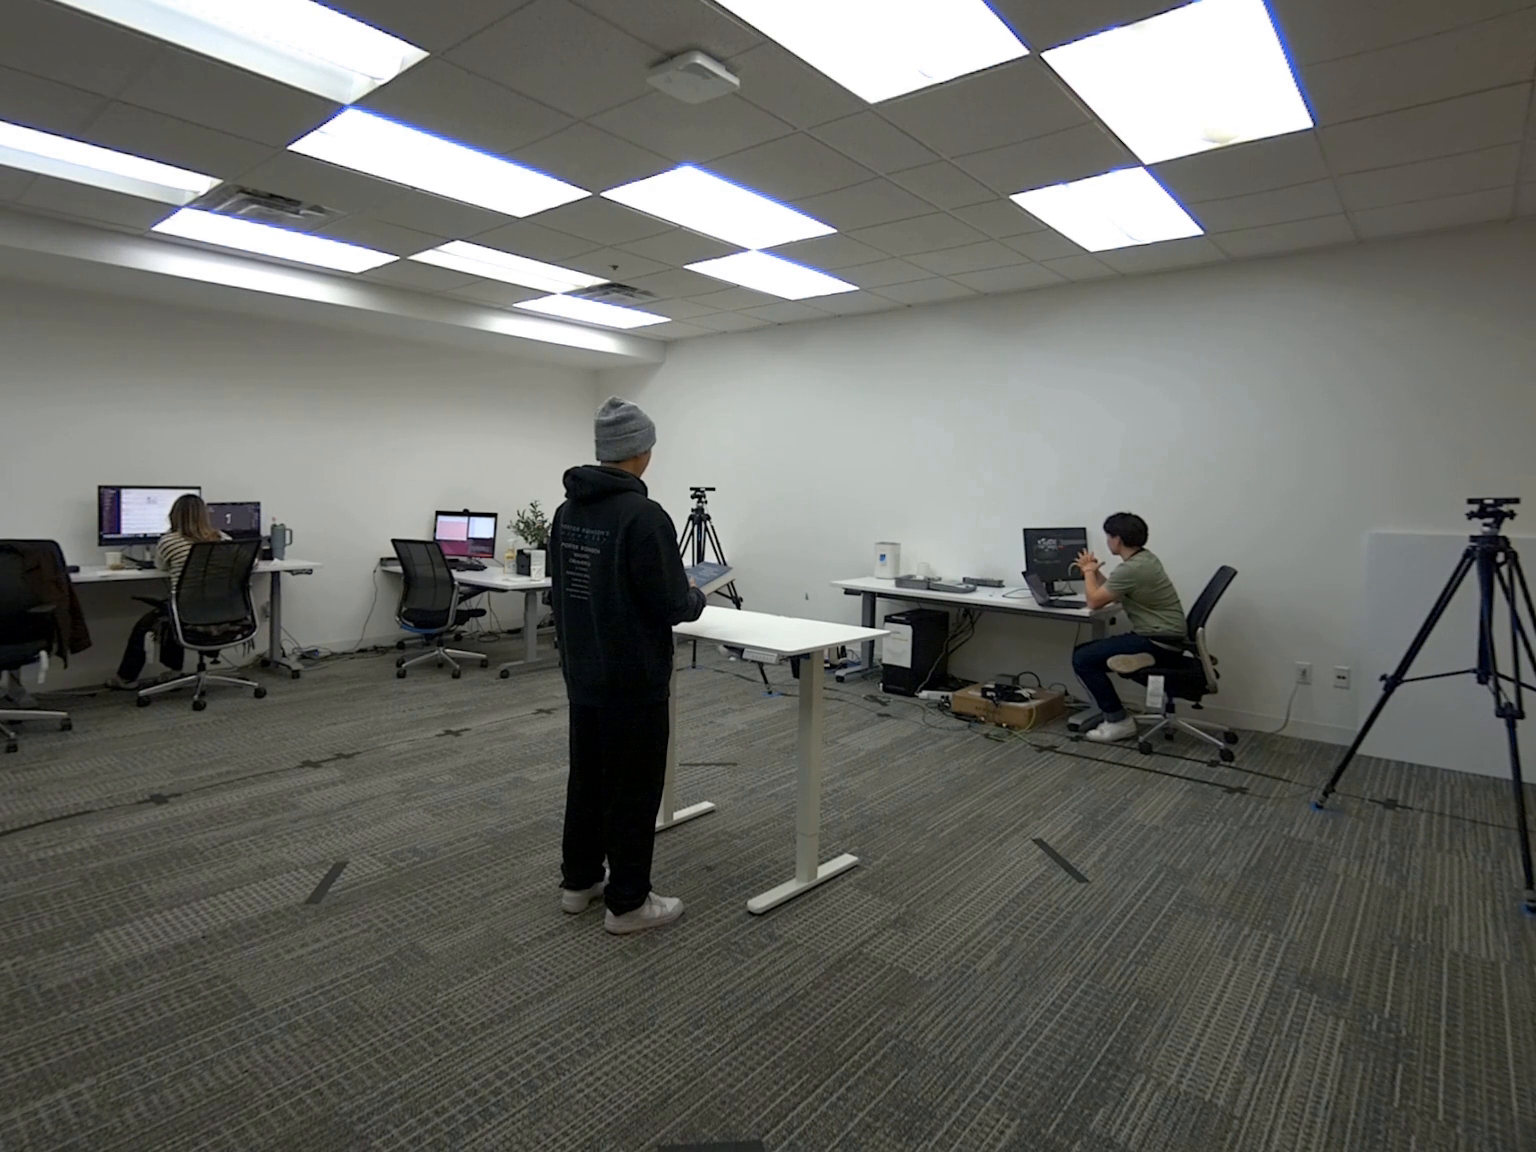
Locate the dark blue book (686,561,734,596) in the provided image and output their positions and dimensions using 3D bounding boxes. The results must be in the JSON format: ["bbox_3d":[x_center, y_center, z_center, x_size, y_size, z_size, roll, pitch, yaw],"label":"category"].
[{"bbox_3d":[-0.258,0.024,3.003,0.169,0.044,0.242,11,33,43],"label":"dark blue book"}]
